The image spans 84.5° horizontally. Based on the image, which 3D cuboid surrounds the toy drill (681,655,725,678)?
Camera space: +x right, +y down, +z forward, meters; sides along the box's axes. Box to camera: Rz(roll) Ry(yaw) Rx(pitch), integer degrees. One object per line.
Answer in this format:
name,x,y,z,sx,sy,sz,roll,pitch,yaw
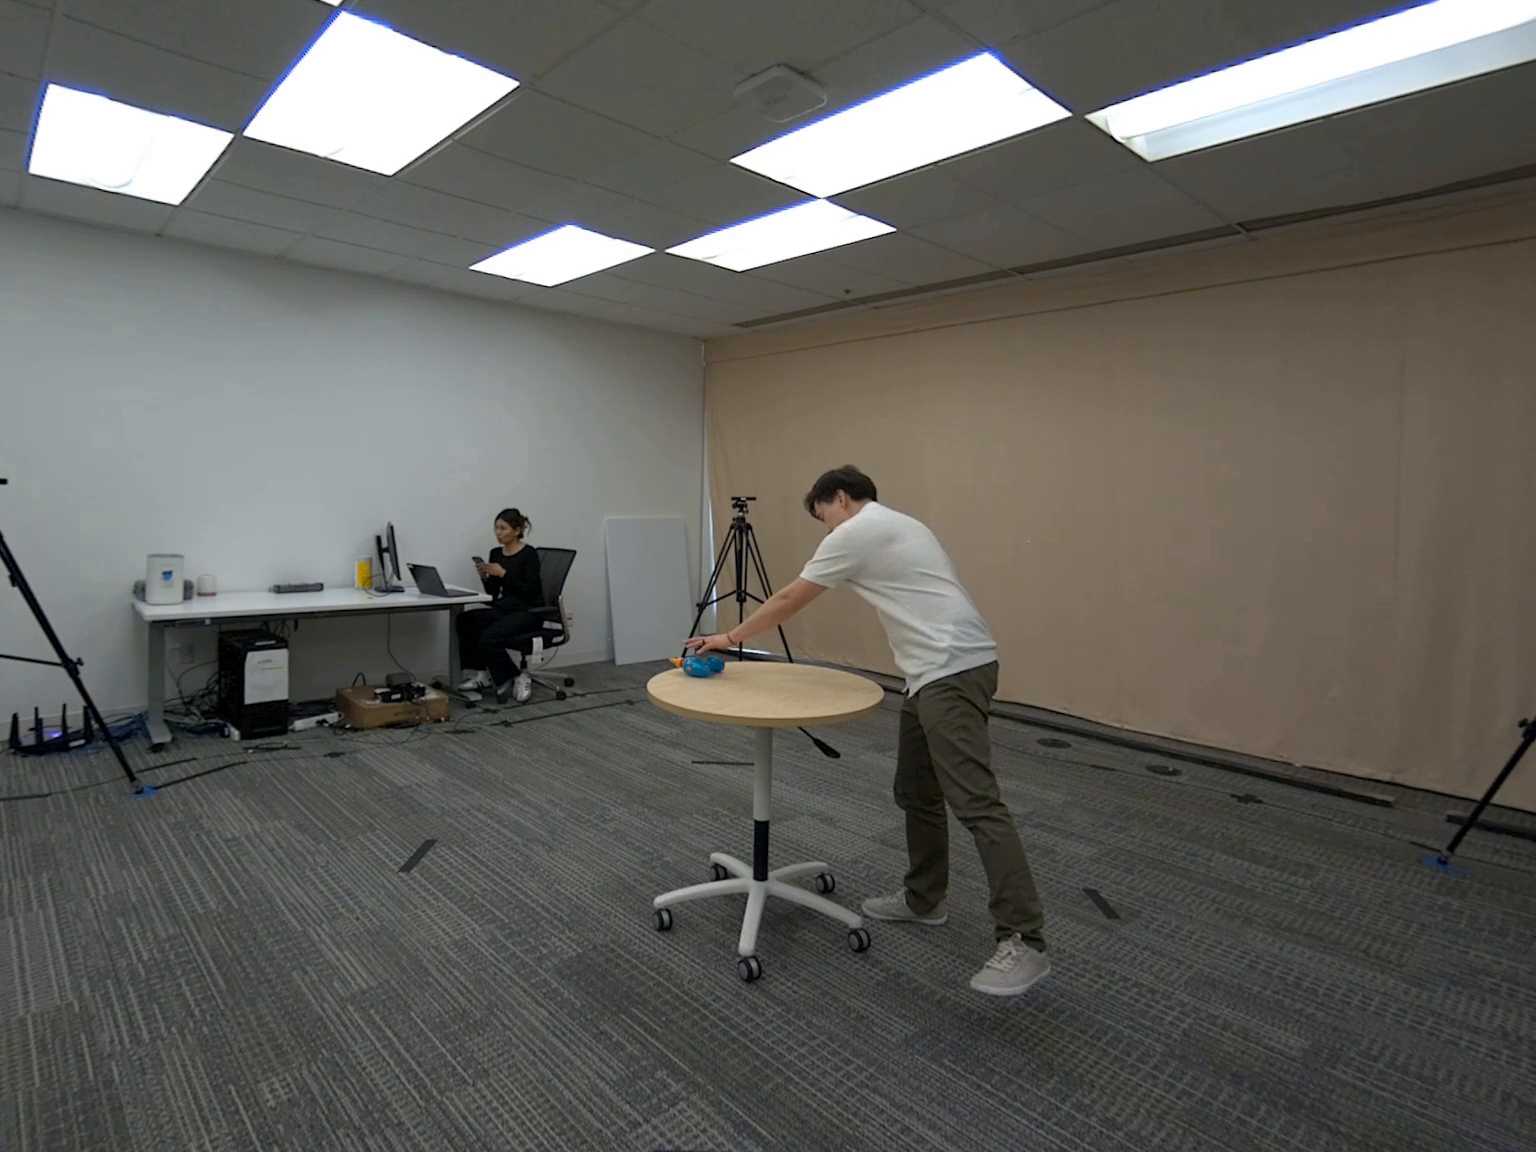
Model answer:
toy drill,-0.246,0.306,2.902,0.174,0.061,0.143,11,8,30
